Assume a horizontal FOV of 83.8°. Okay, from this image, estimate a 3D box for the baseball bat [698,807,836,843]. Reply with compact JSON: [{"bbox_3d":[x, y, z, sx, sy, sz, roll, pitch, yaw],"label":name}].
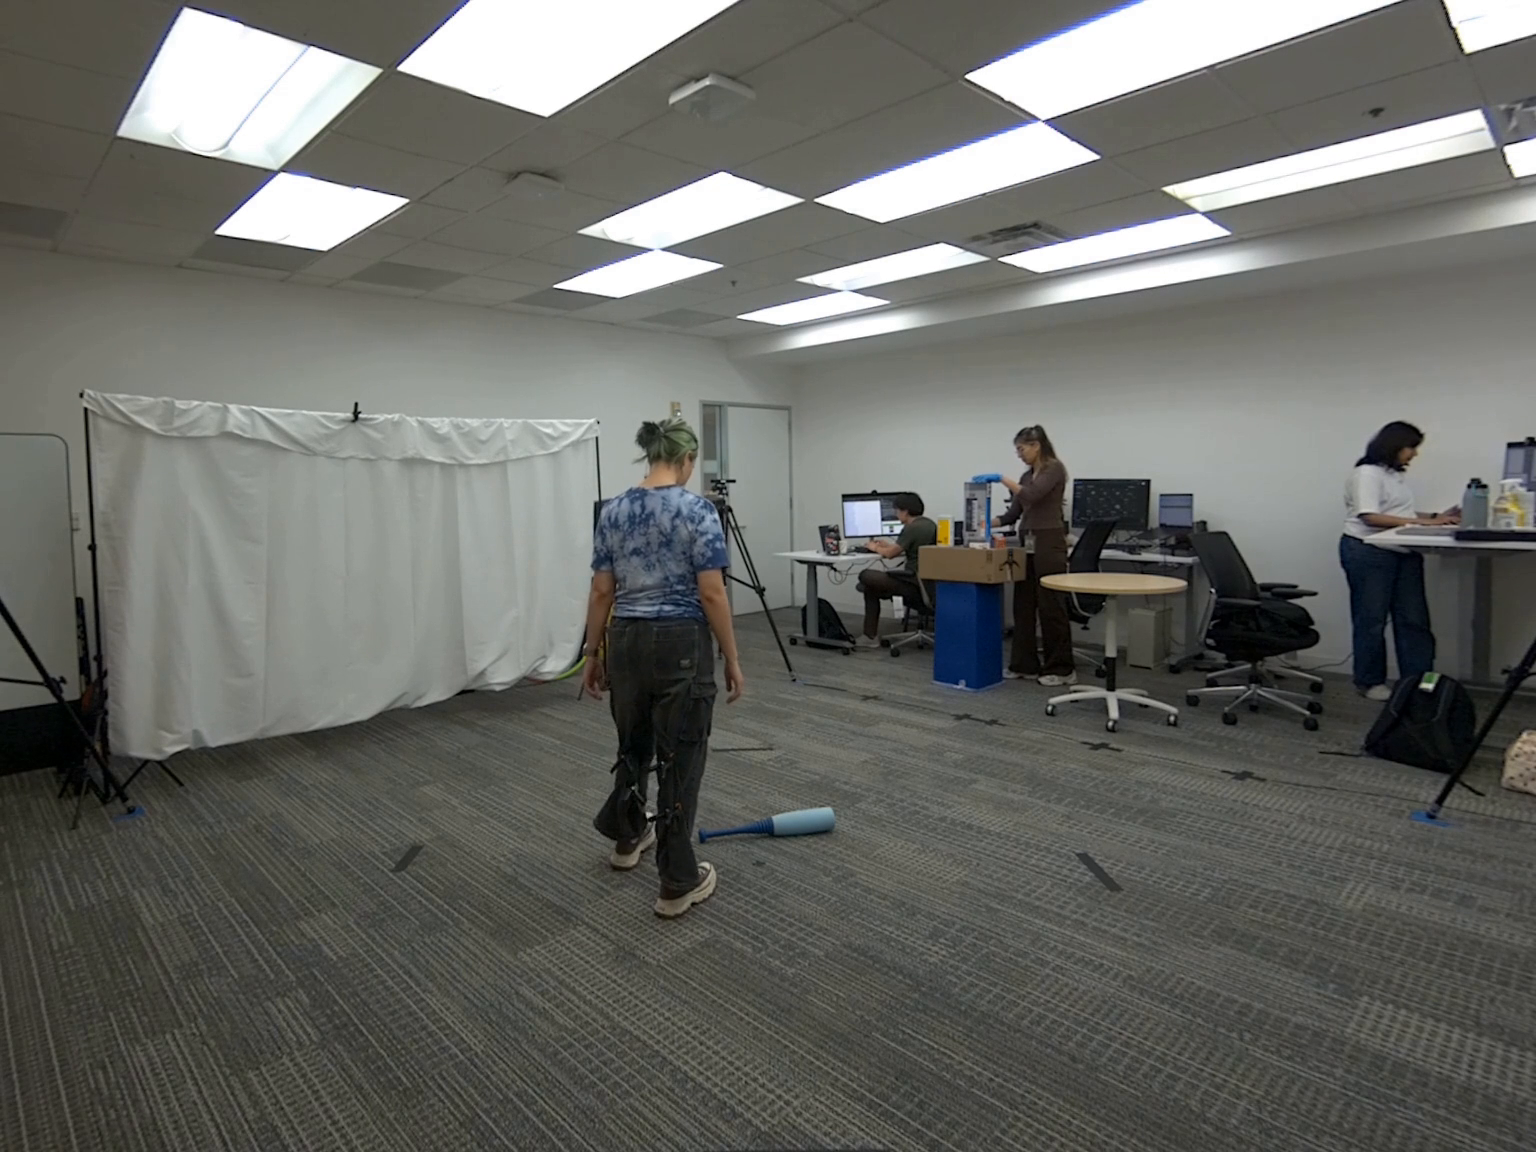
[{"bbox_3d":[-0.004,0.985,3.347,0.539,0.088,0.090,-5,5,-9],"label":"baseball bat"}]
